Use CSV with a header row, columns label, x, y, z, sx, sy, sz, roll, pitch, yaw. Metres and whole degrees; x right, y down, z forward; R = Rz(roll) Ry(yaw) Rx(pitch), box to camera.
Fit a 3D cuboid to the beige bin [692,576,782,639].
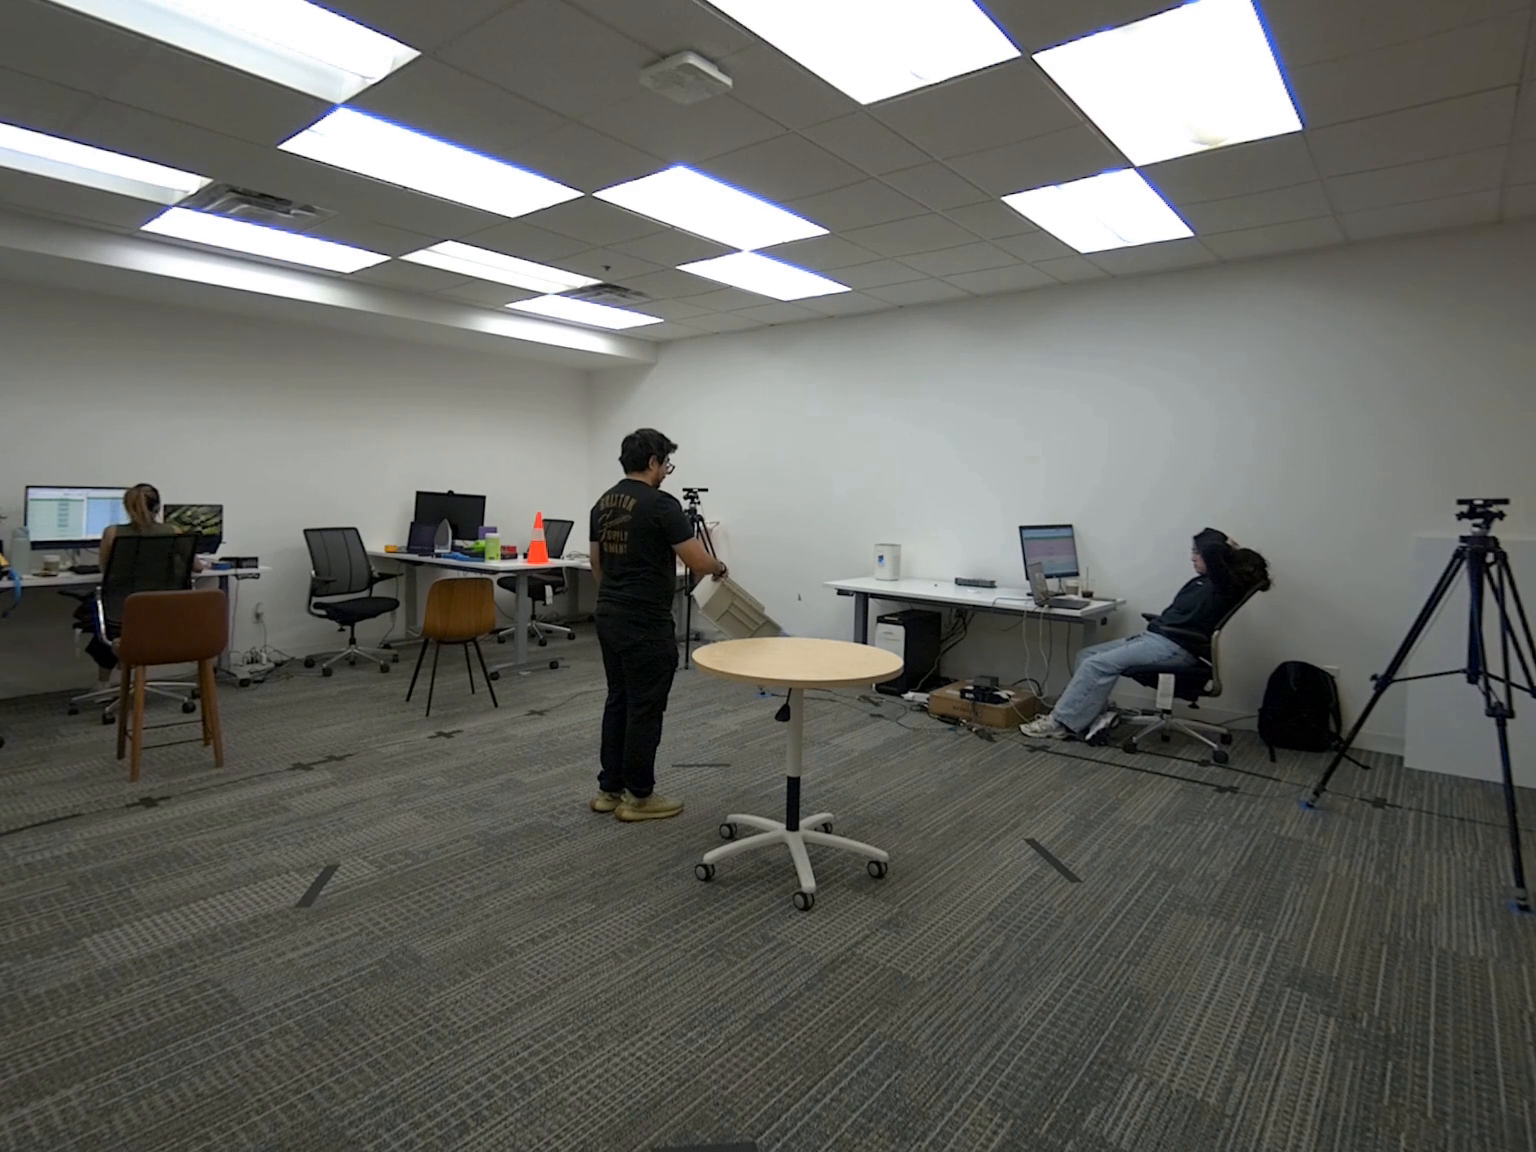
label,x,y,z,sx,sy,sz,roll,pitch,yaw
beige bin,-0.157,0.166,3.895,0.372,0.189,0.429,37,3,-12
